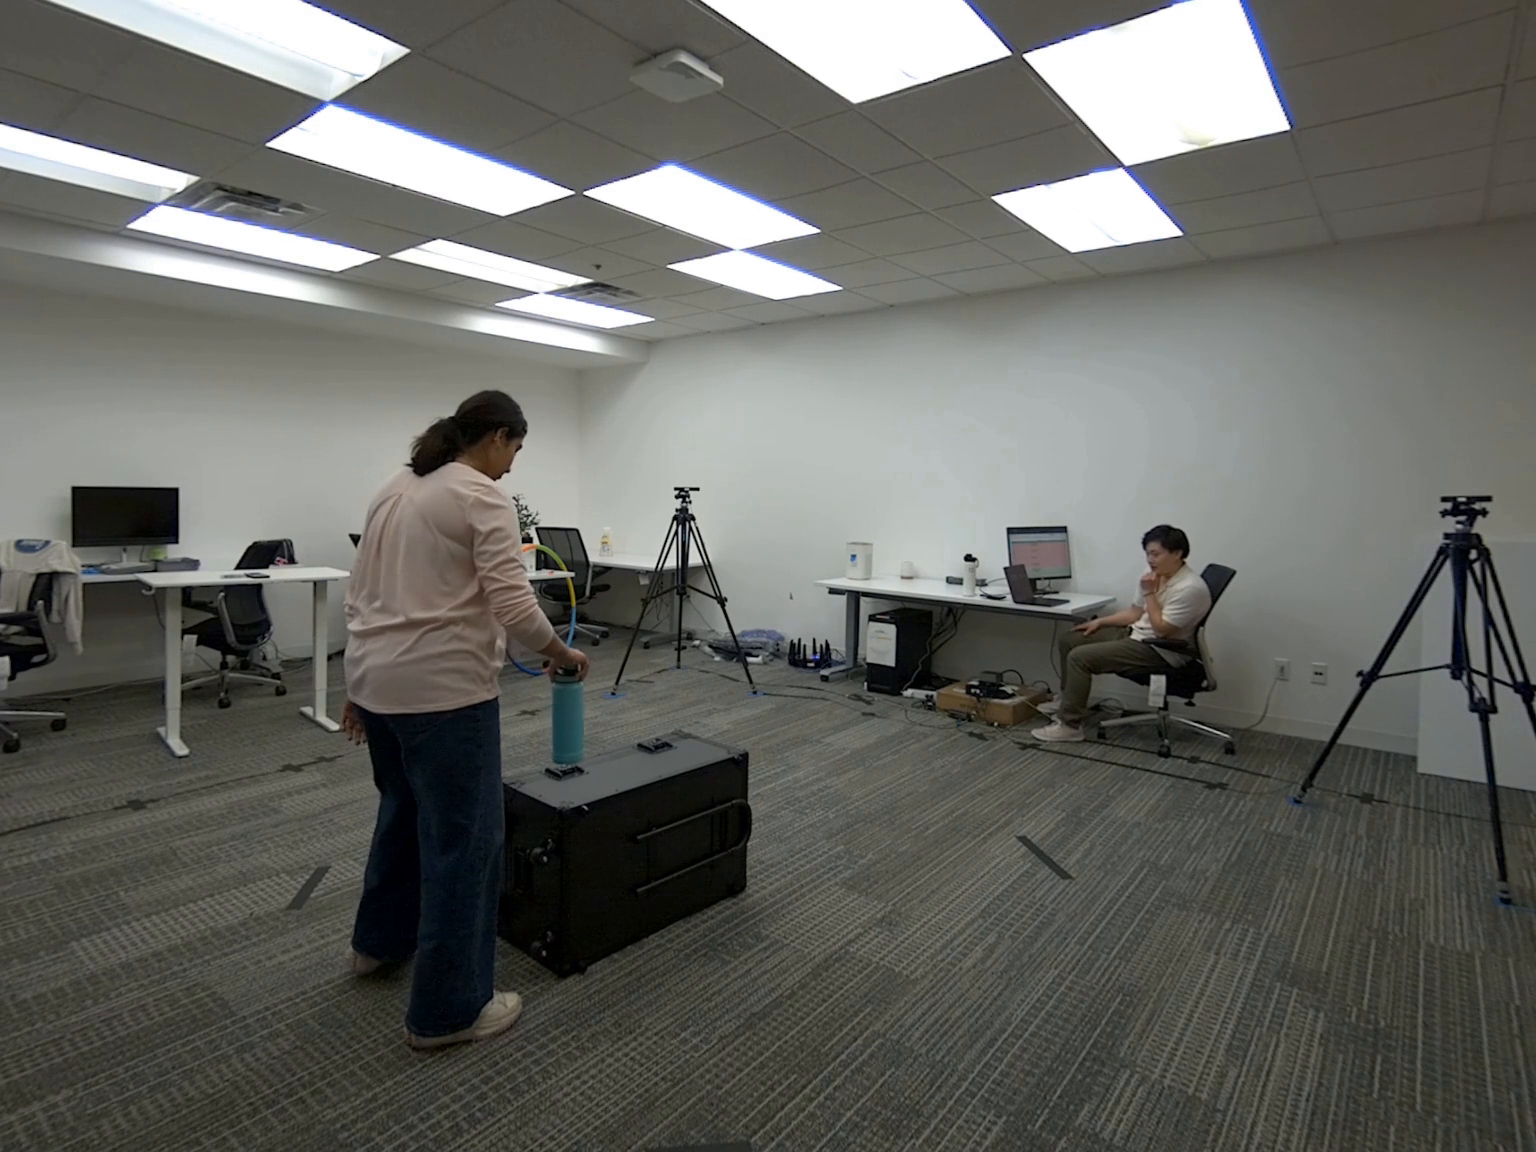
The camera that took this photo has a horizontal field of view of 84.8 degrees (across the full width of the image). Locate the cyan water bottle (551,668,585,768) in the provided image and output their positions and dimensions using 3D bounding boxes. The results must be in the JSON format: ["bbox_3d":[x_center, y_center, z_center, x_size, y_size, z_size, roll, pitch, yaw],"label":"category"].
[{"bbox_3d":[-0.581,0.382,2.390,0.092,0.282,0.093,0,4,-2],"label":"cyan water bottle"}]
